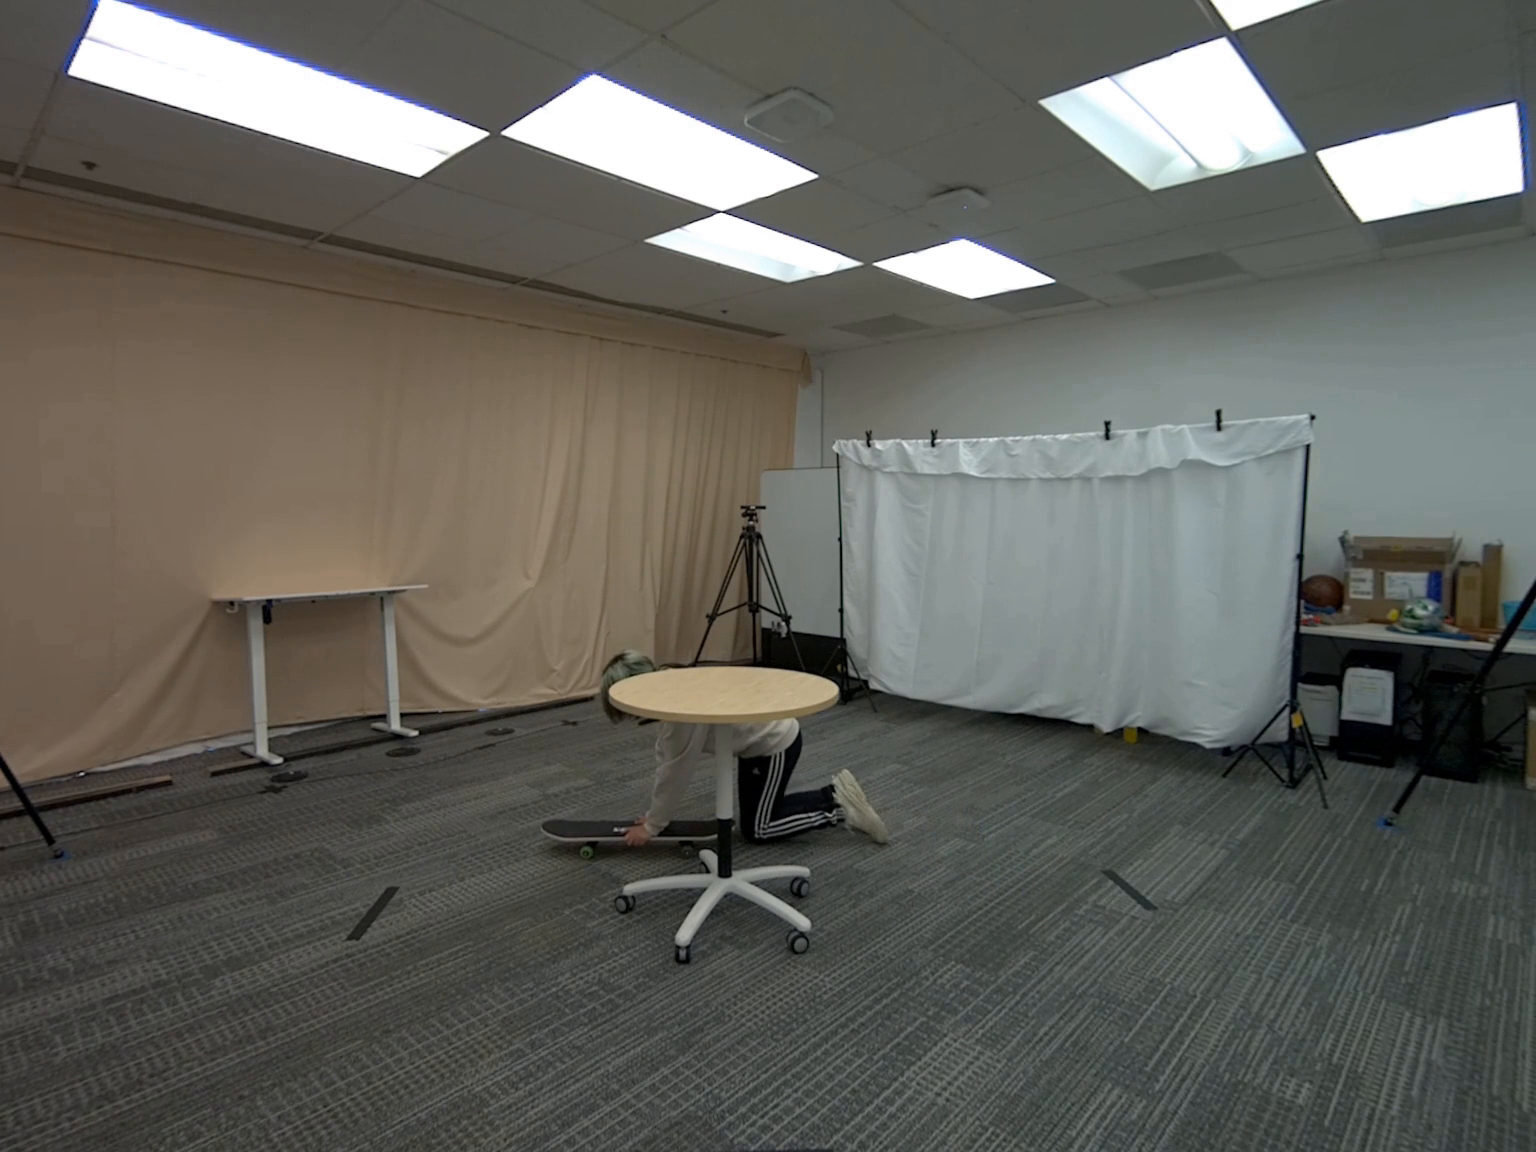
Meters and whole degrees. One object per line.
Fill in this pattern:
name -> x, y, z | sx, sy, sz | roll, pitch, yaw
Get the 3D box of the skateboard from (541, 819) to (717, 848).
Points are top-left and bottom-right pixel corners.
skateboard -> -0.529, 1.063, 3.415 | 0.785, 0.110, 0.194 | 0, 3, 0
